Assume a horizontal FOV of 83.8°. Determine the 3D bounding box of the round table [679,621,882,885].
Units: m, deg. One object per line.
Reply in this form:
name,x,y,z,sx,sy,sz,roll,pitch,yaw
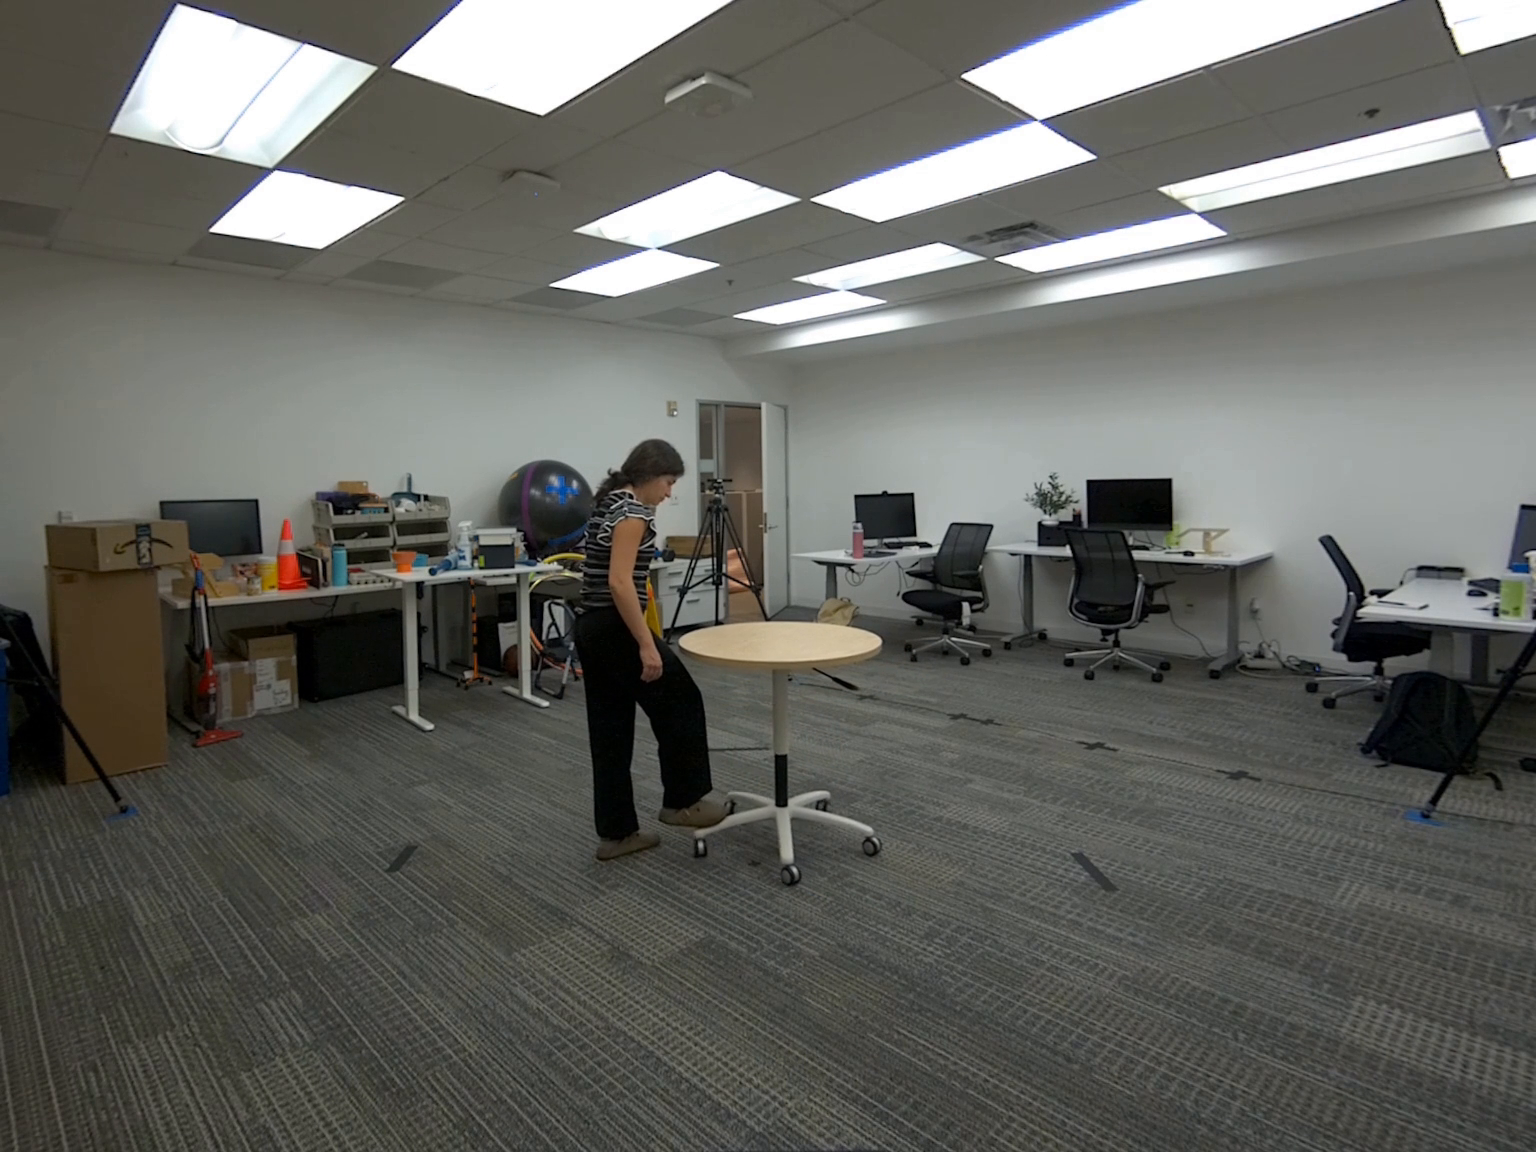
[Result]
round table,0.047,0.627,3.280,0.784,0.783,0.789,-1,5,-2
